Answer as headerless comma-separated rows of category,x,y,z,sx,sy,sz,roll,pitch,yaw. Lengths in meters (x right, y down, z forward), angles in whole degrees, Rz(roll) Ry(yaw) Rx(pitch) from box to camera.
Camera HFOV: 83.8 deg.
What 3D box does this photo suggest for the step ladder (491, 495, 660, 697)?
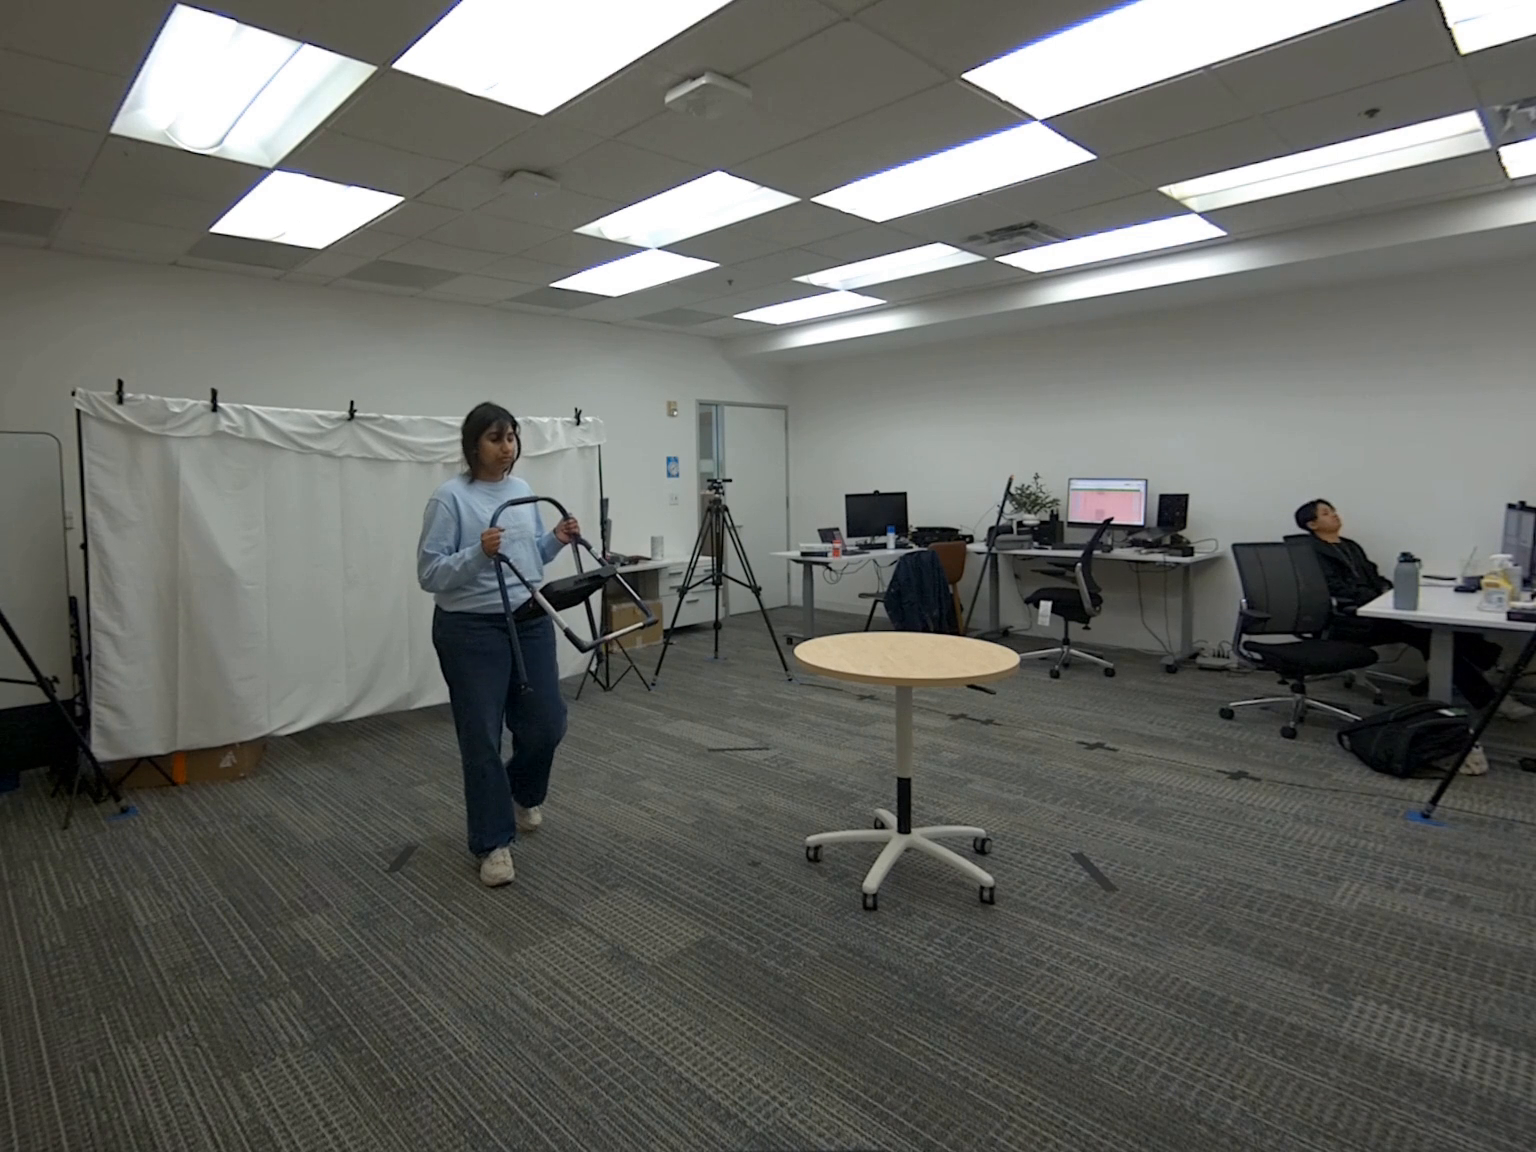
step ladder,-0.749,0.024,2.991,0.352,0.613,0.423,-35,-8,29
